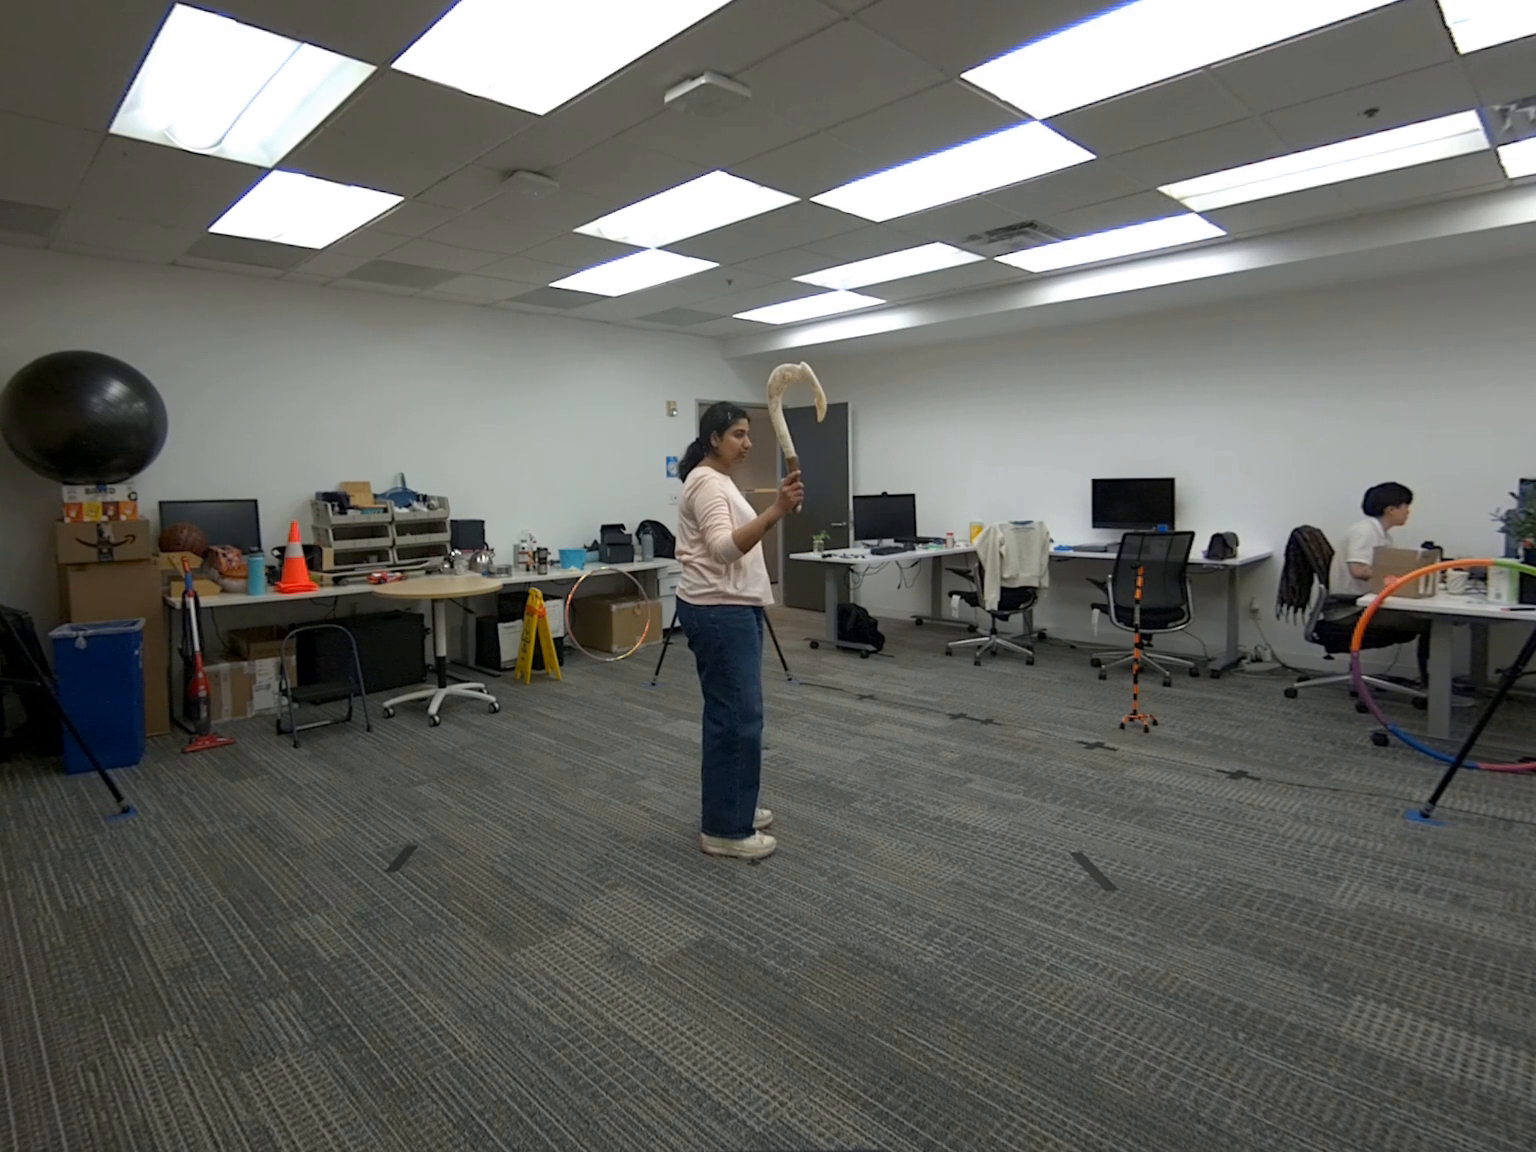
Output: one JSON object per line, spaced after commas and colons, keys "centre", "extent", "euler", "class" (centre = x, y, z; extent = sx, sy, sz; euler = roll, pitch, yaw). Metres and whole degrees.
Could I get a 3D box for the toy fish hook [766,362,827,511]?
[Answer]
{"centre": [0.115, -0.447, 2.862], "extent": [0.232, 0.500, 0.047], "euler": [6, 18, 41], "class": "toy fish hook"}
